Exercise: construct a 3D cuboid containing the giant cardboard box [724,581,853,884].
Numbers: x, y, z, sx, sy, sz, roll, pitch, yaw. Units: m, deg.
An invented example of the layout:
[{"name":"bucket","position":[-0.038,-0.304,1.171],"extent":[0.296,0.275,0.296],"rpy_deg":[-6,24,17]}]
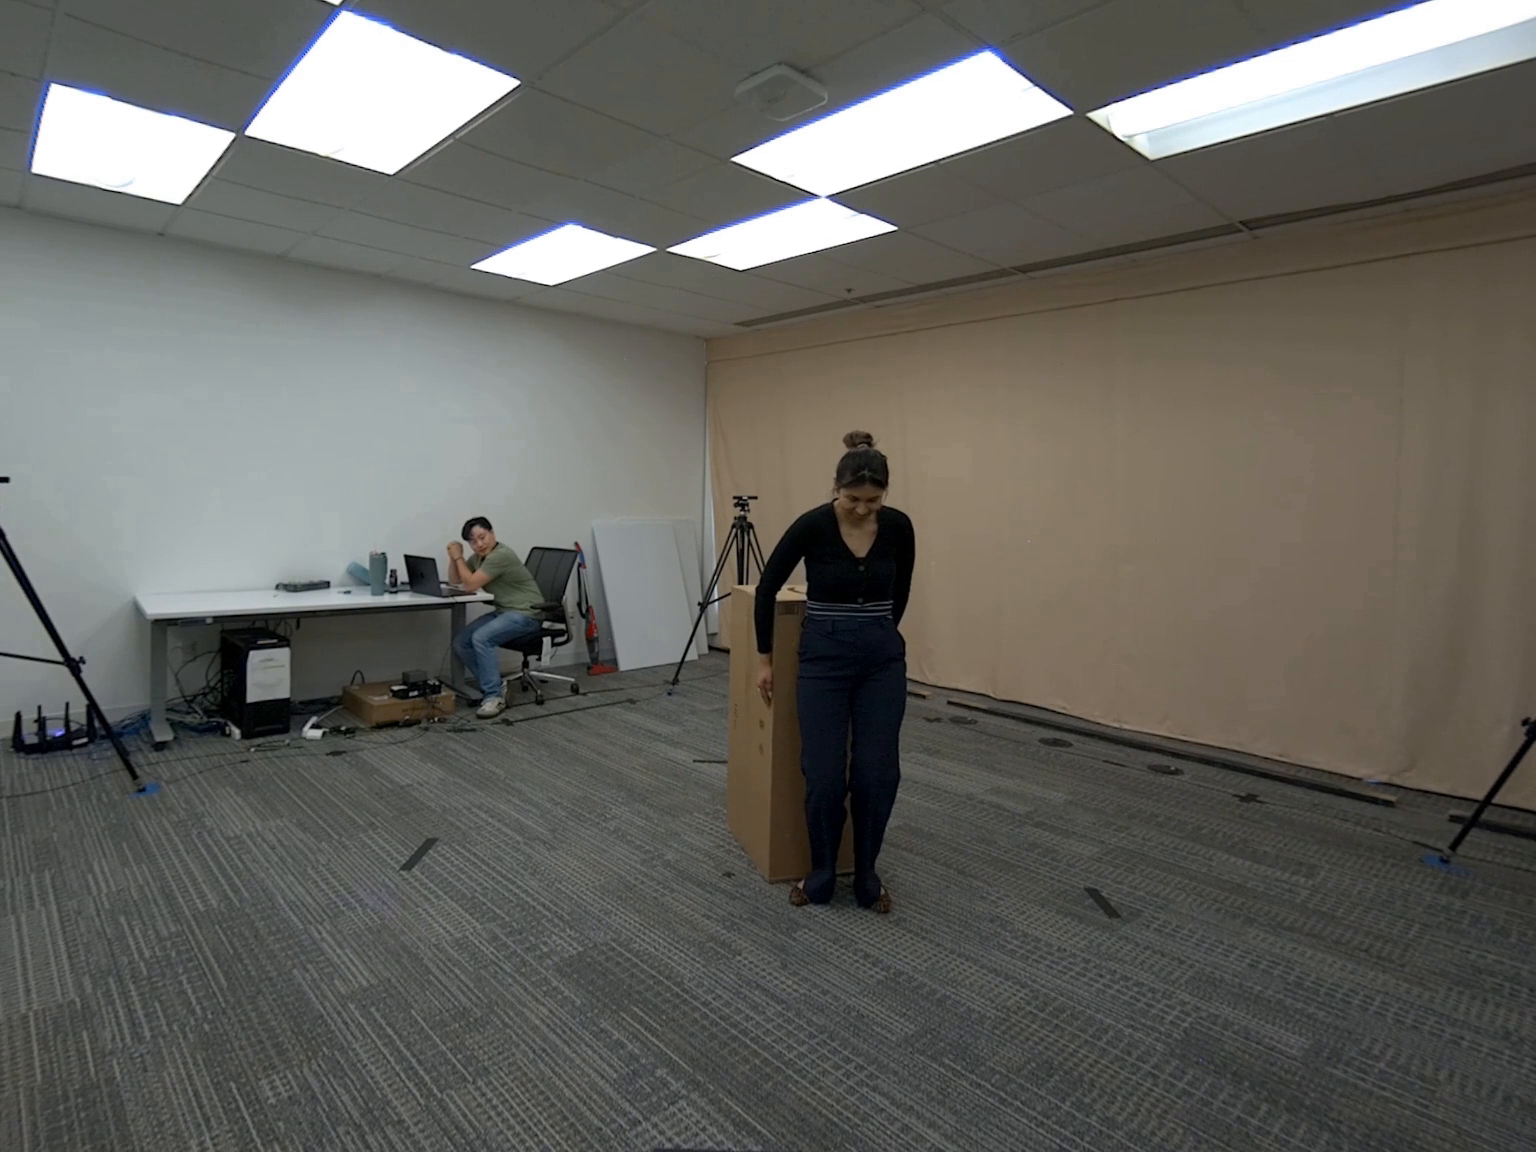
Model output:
[{"name":"giant cardboard box","position":[0.114,0.576,3.354],"extent":[0.420,1.024,0.587],"rpy_deg":[1,3,-19]}]
